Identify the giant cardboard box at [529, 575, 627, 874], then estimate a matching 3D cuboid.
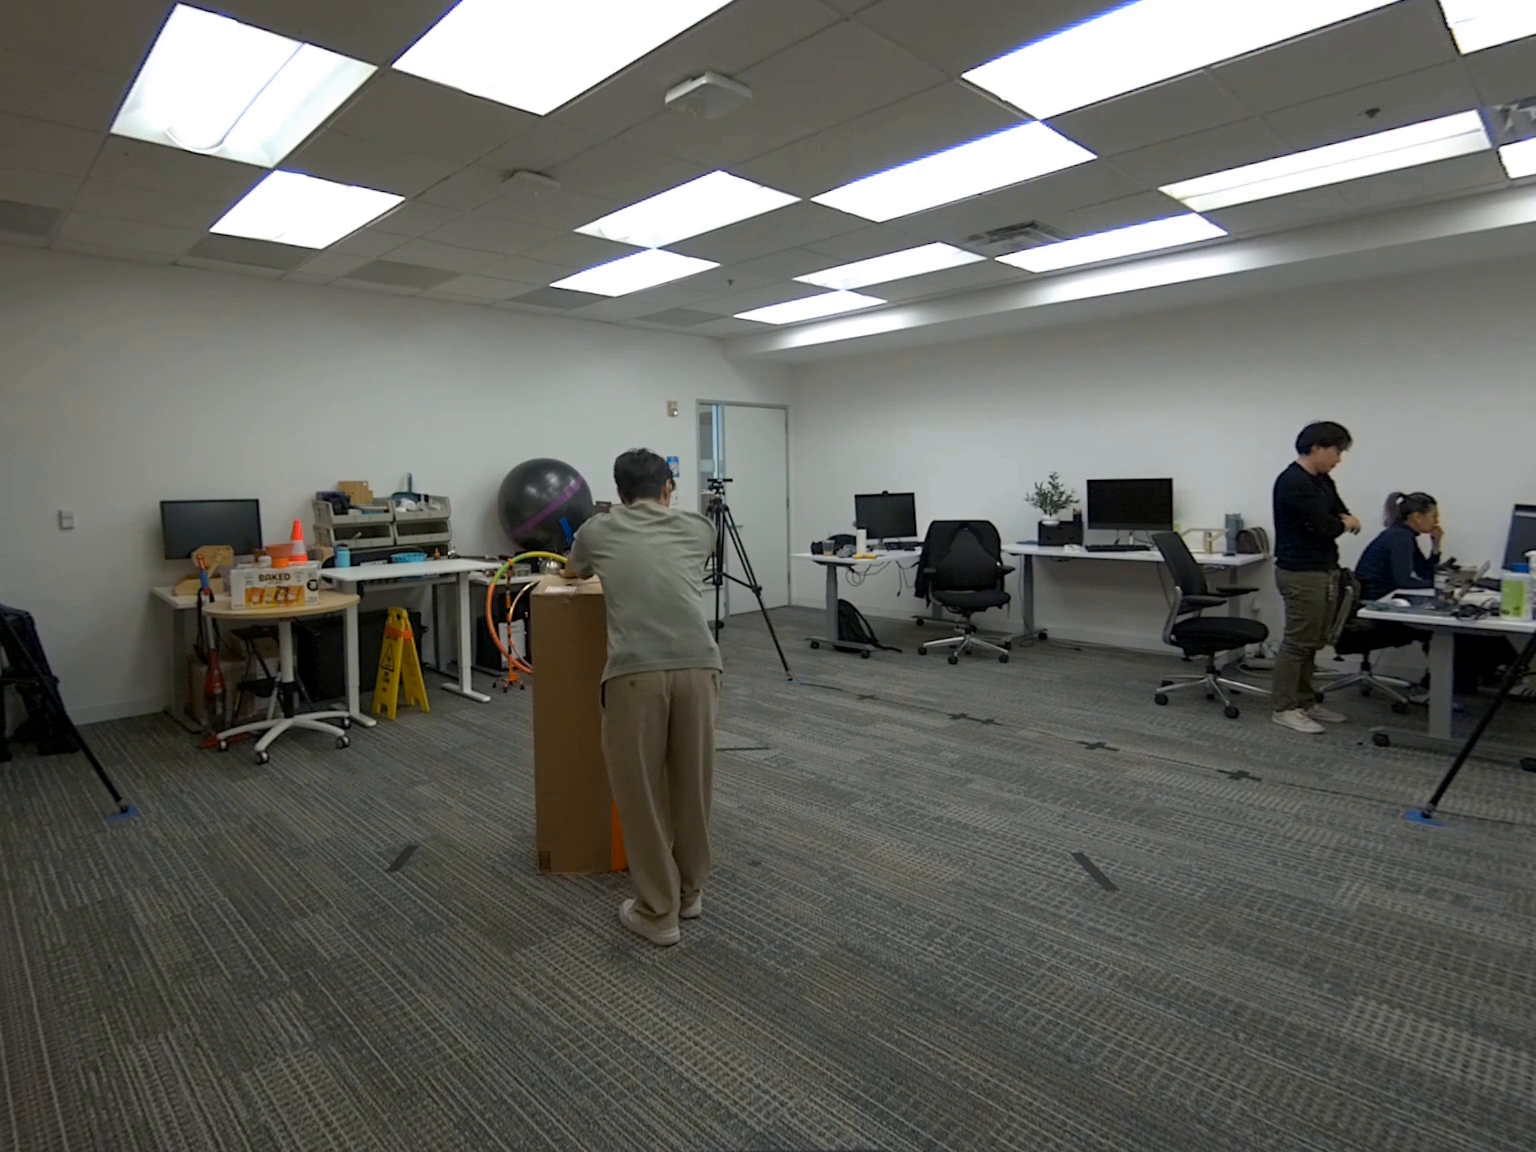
[{"bbox_3d":[-0.563,0.519,3.209,0.575,1.019,0.431,-1,7,-5],"label":"giant cardboard box"}]
